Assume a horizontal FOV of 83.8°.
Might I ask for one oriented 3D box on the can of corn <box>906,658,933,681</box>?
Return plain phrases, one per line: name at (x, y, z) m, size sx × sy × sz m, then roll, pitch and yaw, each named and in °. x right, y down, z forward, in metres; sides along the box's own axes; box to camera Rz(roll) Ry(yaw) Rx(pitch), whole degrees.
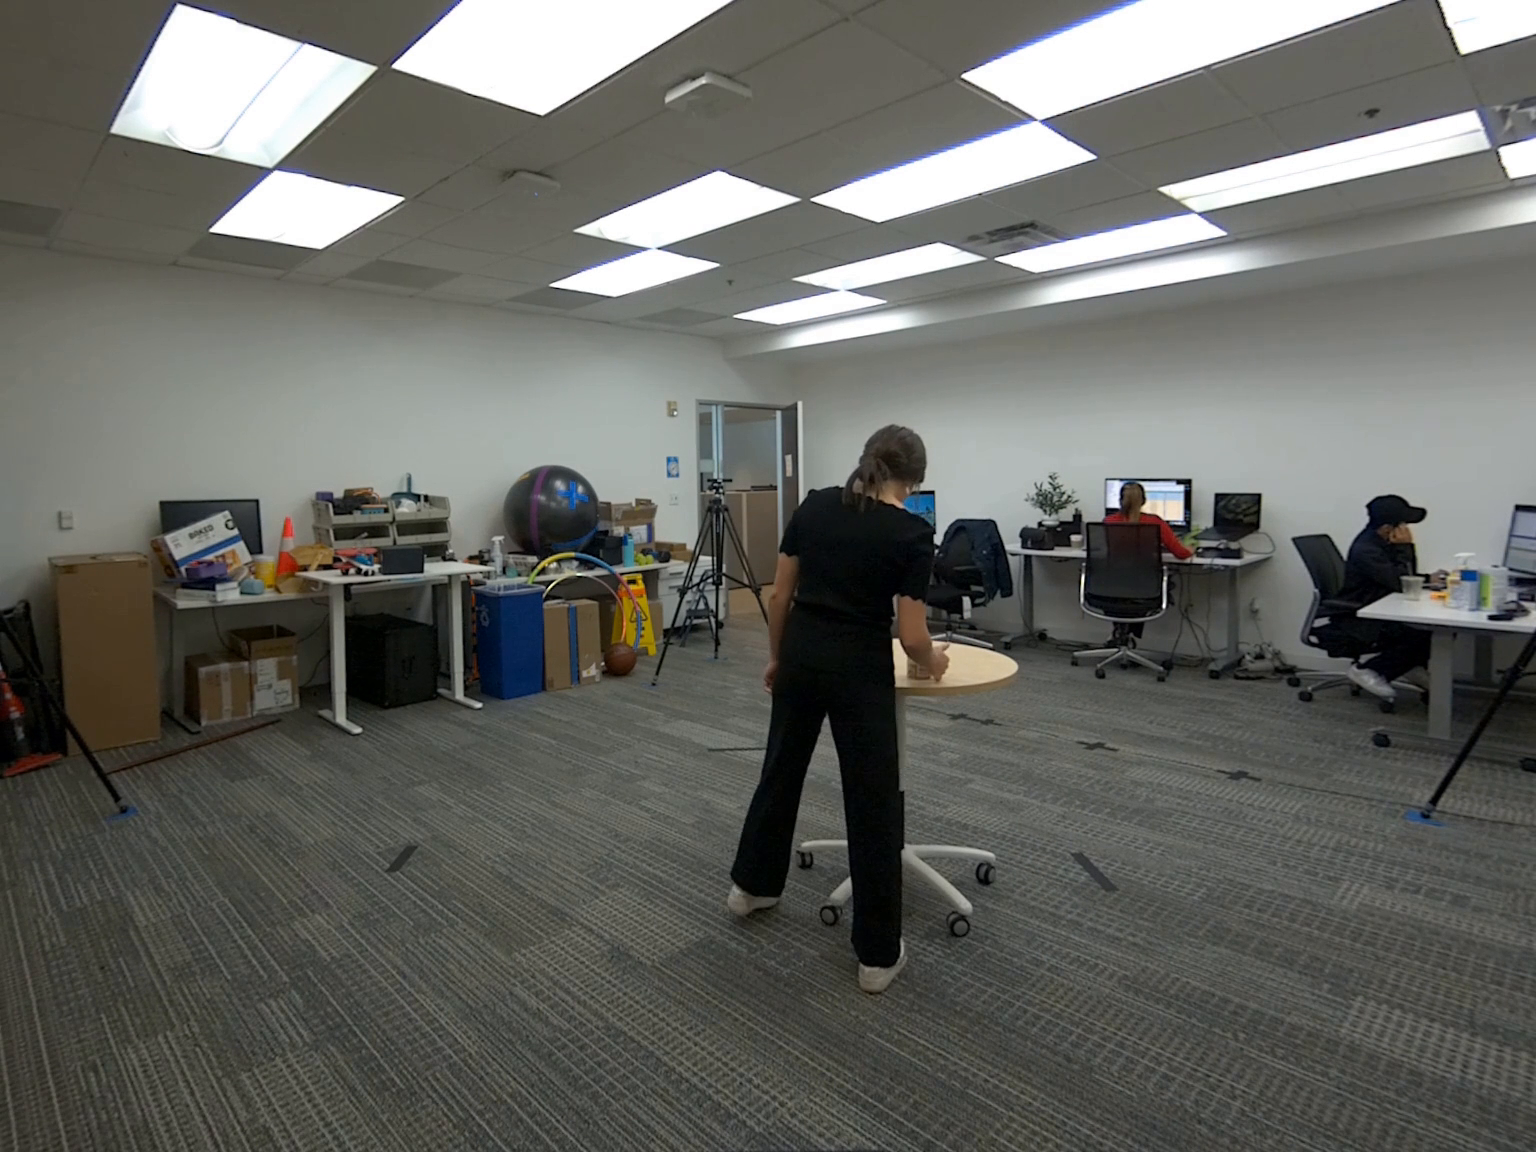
can of corn at (0.480, 0.255, 2.588) m, size 0.074 × 0.110 × 0.074 m, roll -1°, pitch 5°, yaw -2°
